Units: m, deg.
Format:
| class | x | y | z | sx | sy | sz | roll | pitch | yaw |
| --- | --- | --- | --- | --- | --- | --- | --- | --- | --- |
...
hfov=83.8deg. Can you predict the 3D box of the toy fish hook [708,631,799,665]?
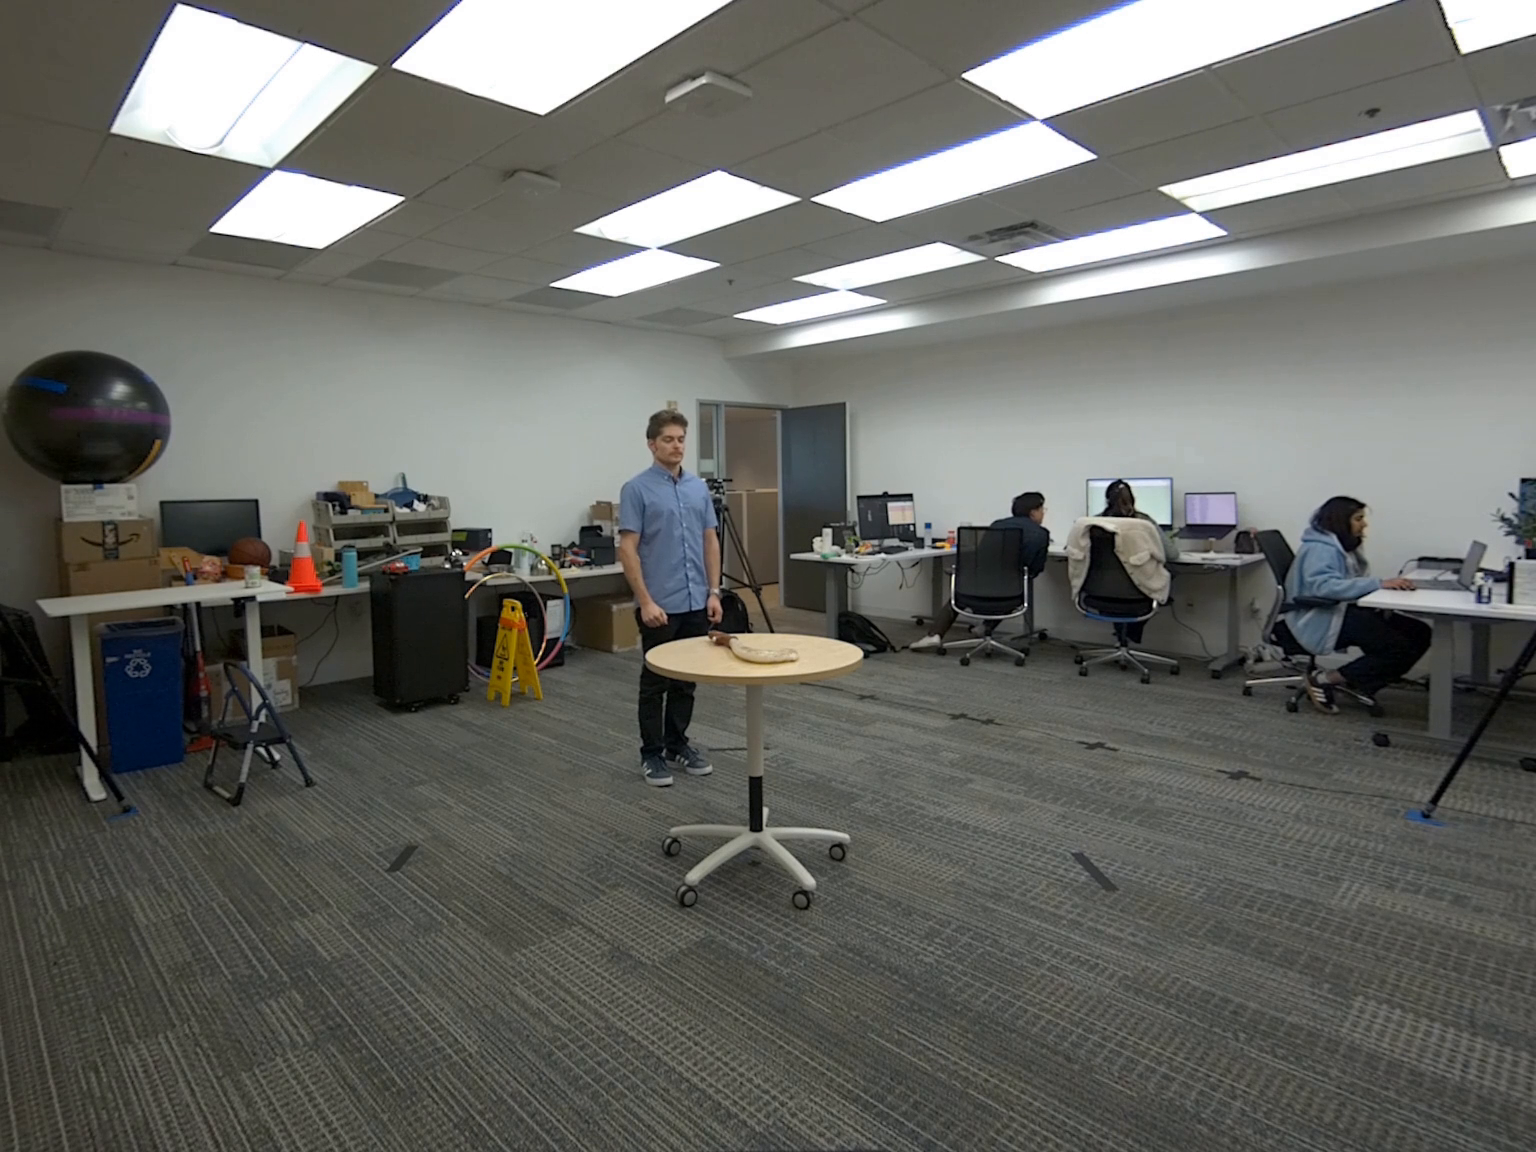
| class | x | y | z | sx | sy | sz | roll | pitch | yaw |
| --- | --- | --- | --- | --- | --- | --- | --- | --- | --- |
| toy fish hook | -0.064 | 0.256 | 3.058 | 0.220 | 0.048 | 0.519 | 3 | 5 | -24 |
